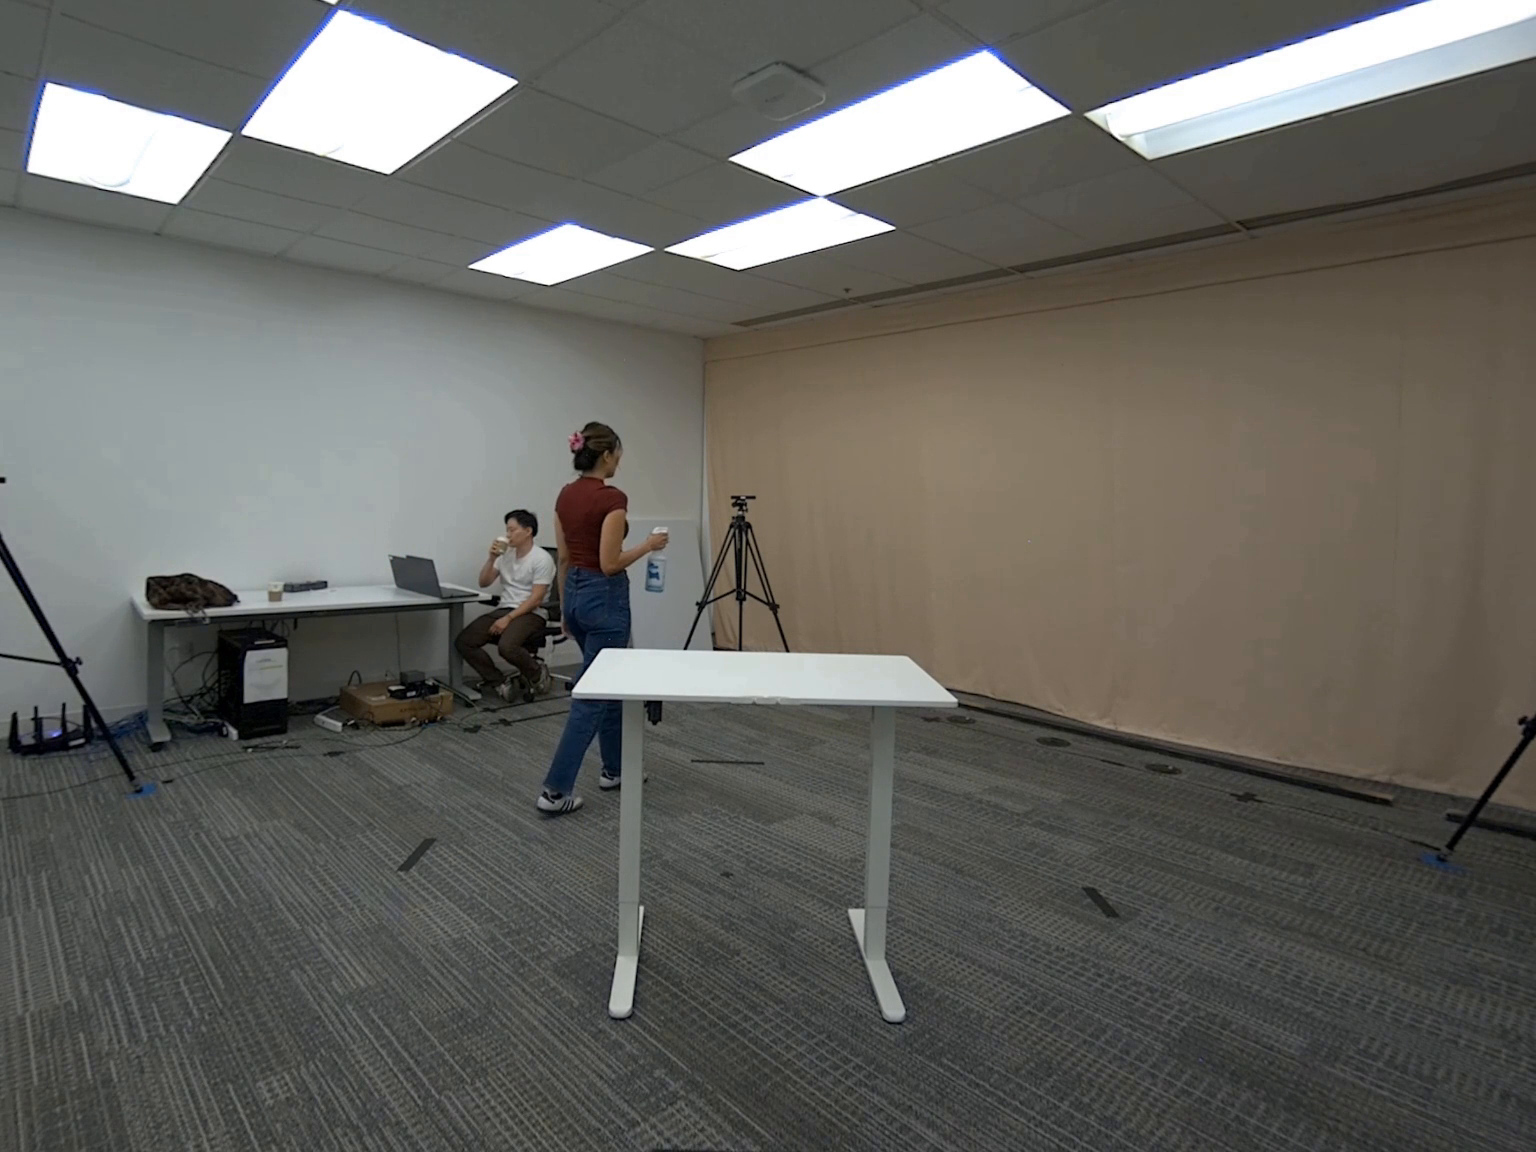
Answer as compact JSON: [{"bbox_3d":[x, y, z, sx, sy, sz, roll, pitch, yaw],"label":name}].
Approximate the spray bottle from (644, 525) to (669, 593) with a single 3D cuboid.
[{"bbox_3d":[-0.528,-0.077,3.865,0.088,0.296,0.089,6,4,-22],"label":"spray bottle"}]
